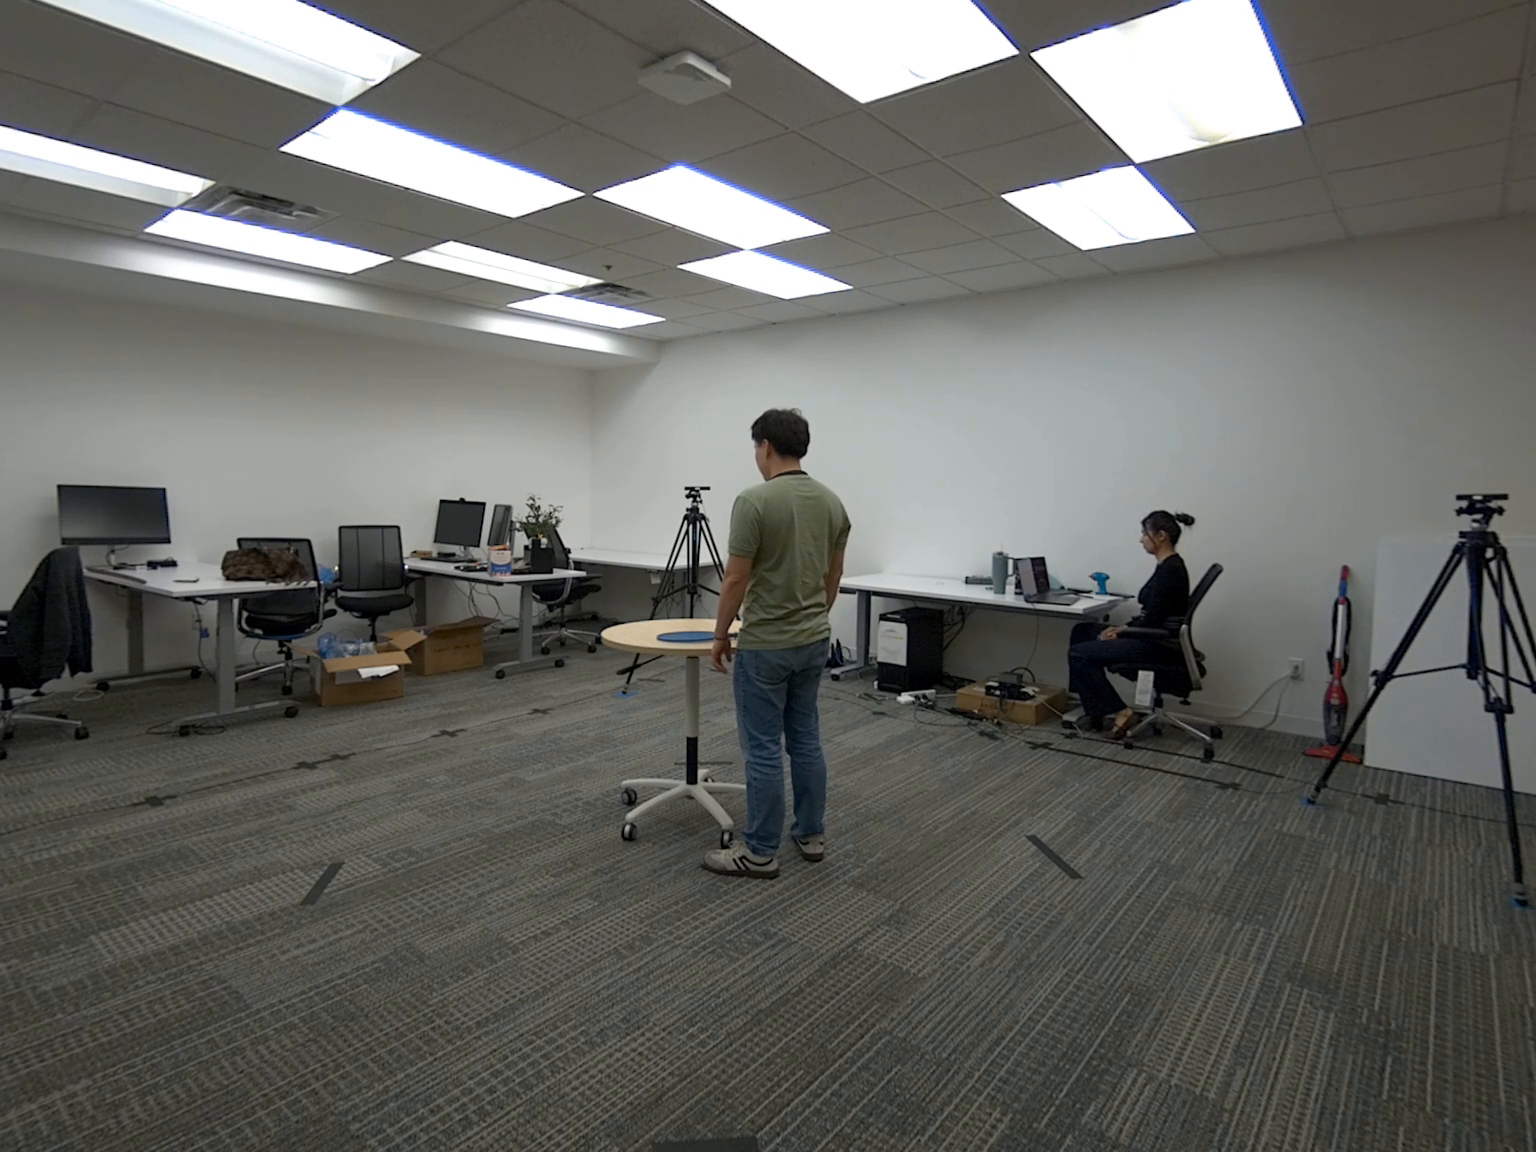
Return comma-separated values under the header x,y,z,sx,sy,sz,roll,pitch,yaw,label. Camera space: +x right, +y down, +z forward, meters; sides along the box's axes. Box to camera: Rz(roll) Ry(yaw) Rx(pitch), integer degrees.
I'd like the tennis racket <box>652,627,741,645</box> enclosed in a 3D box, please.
x,y,z,sx,sy,sz,roll,pitch,yaw,label
-0.238,0.240,3.405,0.435,0.031,0.213,-1,5,4,tennis racket
